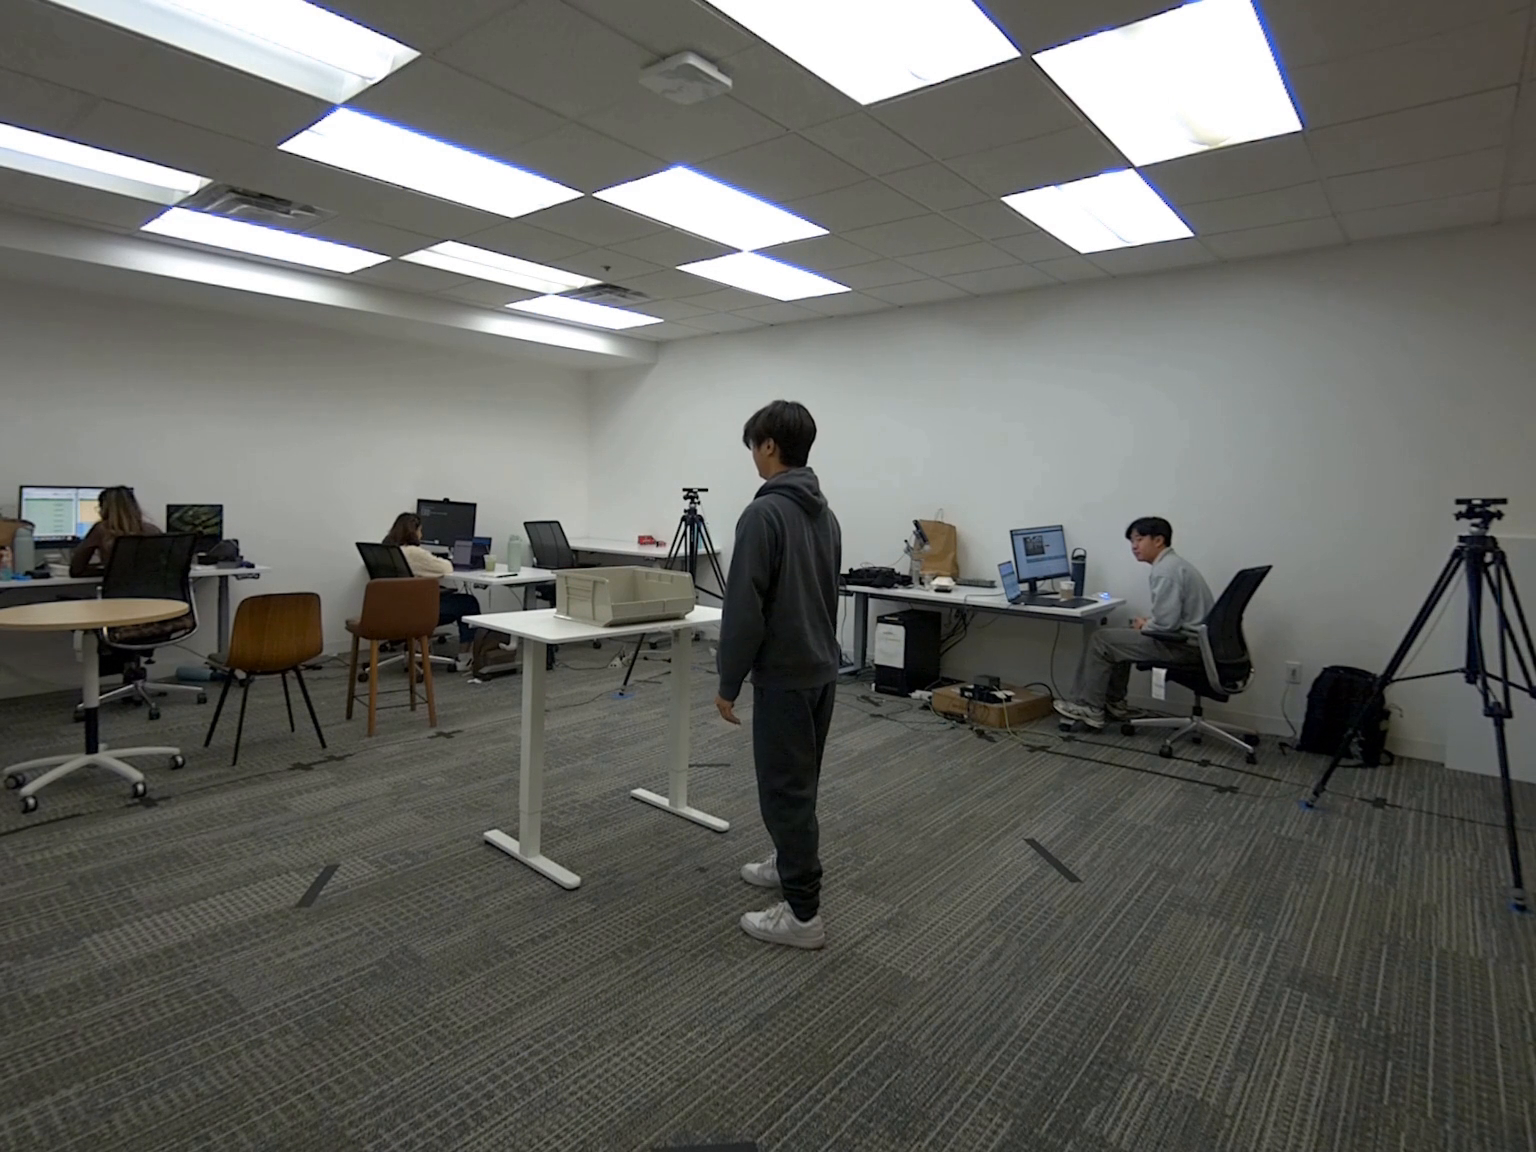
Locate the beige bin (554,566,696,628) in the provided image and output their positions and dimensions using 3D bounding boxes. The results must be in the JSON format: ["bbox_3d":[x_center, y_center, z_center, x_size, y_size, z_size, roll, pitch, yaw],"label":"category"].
[{"bbox_3d":[-0.569,0.074,3.301,0.390,0.188,0.409,5,6,43],"label":"beige bin"}]
